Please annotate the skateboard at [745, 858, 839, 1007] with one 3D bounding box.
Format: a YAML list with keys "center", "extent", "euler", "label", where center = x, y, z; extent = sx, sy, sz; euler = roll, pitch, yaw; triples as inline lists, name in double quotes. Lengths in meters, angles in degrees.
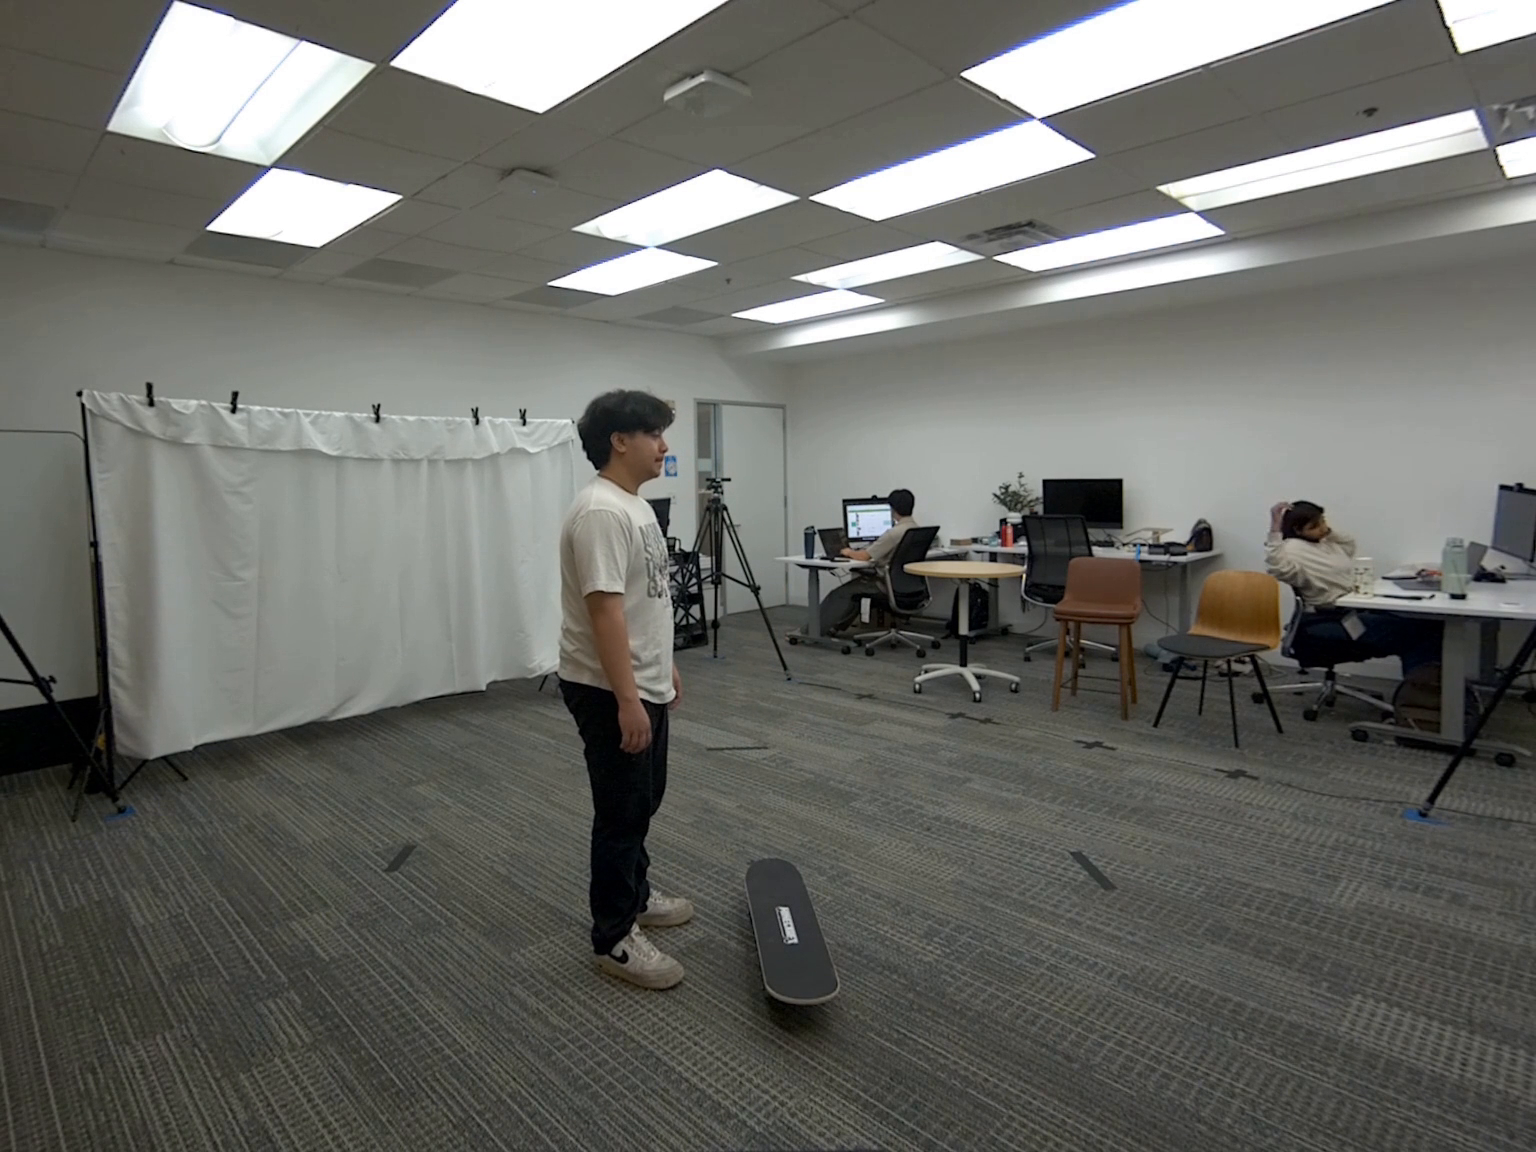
- center: [0.057, 1.049, 2.513]
  extent: [0.192, 0.110, 0.793]
  euler: [-1, 6, -7]
  label: "skateboard"
